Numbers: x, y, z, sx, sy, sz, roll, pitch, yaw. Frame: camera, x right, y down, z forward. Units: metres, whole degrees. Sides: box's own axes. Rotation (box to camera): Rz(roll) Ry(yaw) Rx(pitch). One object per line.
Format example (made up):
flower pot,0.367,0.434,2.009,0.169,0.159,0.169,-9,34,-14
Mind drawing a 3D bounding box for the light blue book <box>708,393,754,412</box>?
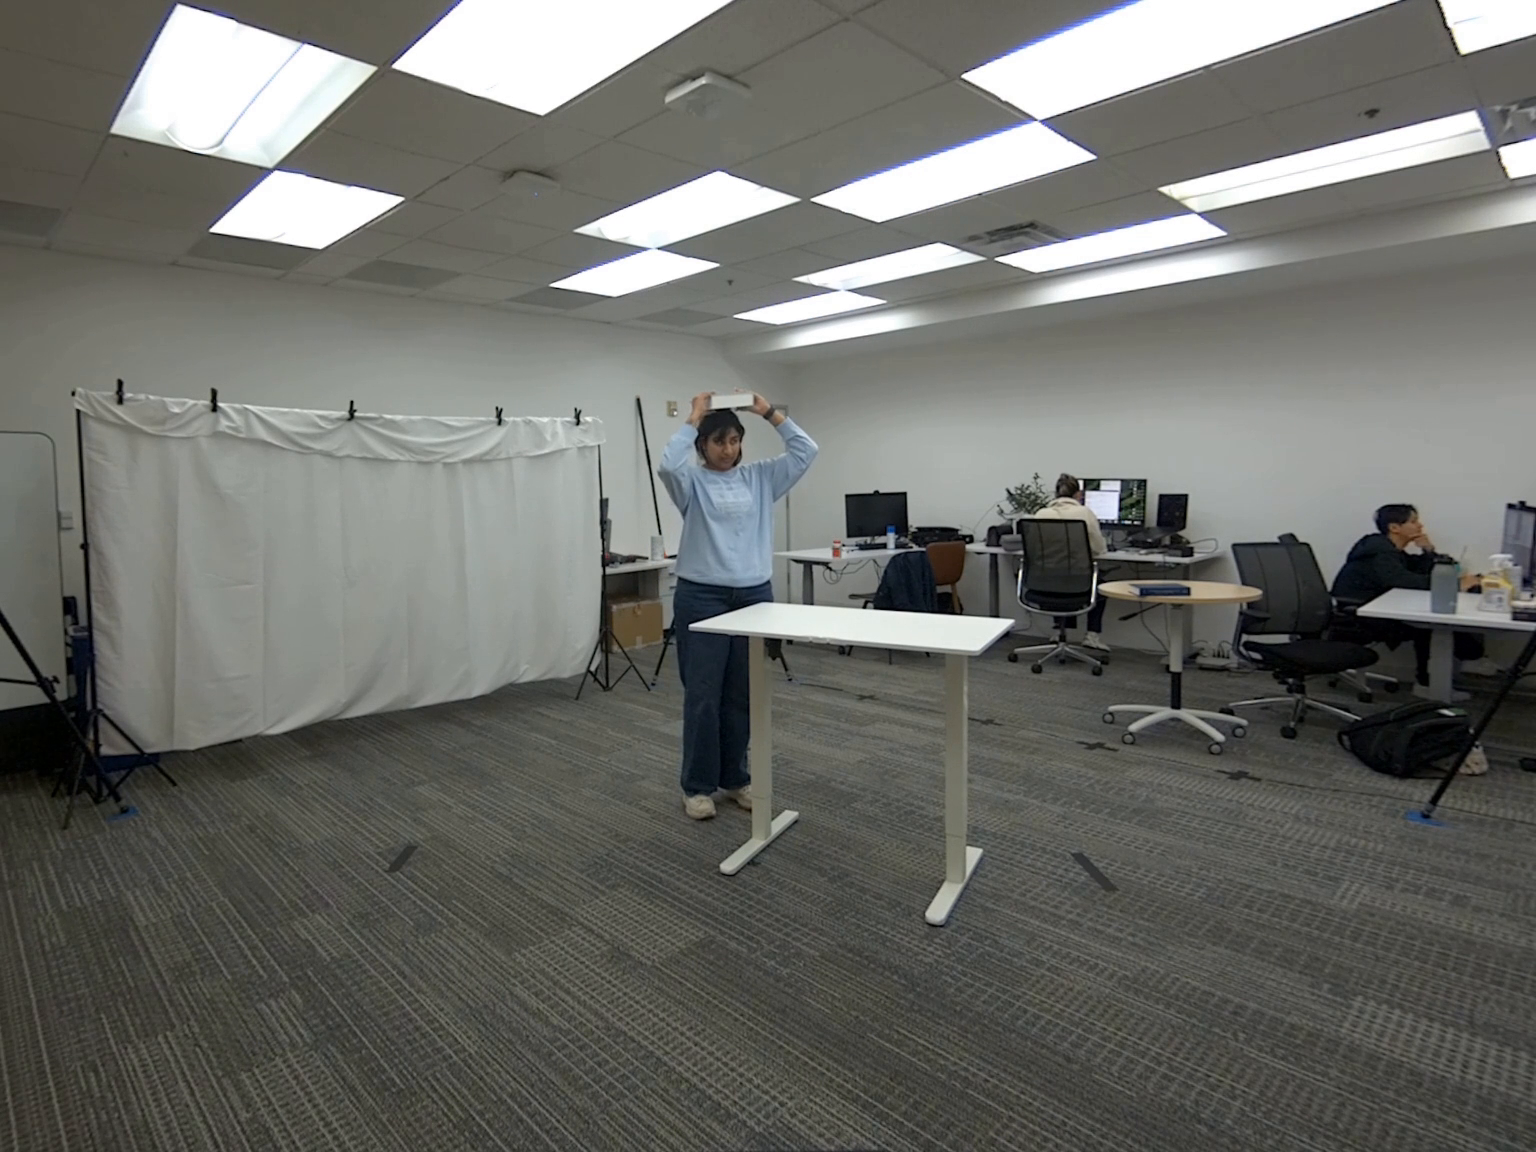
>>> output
light blue book,-0.190,-0.730,3.593,0.190,0.059,0.264,-9,7,-10
